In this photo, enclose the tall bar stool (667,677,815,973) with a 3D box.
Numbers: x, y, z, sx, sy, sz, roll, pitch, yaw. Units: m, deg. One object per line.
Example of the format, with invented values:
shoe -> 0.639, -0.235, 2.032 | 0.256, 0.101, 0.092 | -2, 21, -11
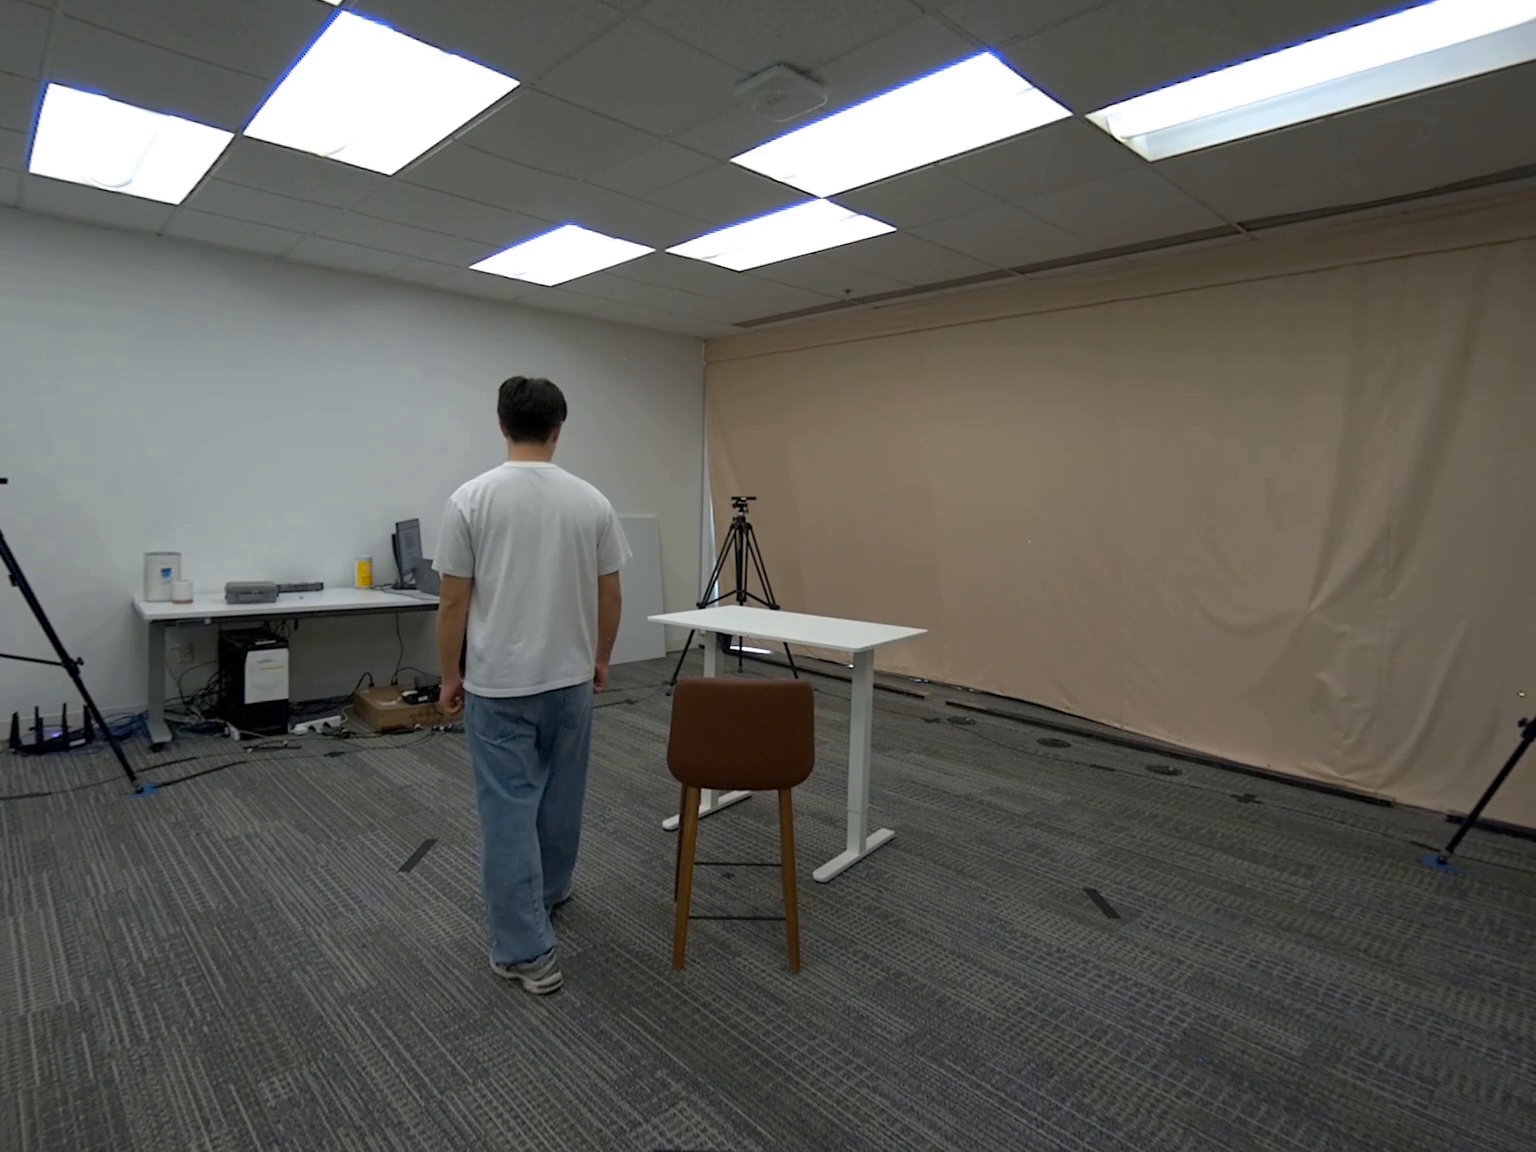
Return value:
tall bar stool -> -0.107, 0.713, 2.667 | 0.455, 0.886, 0.470 | 1, 5, -4
